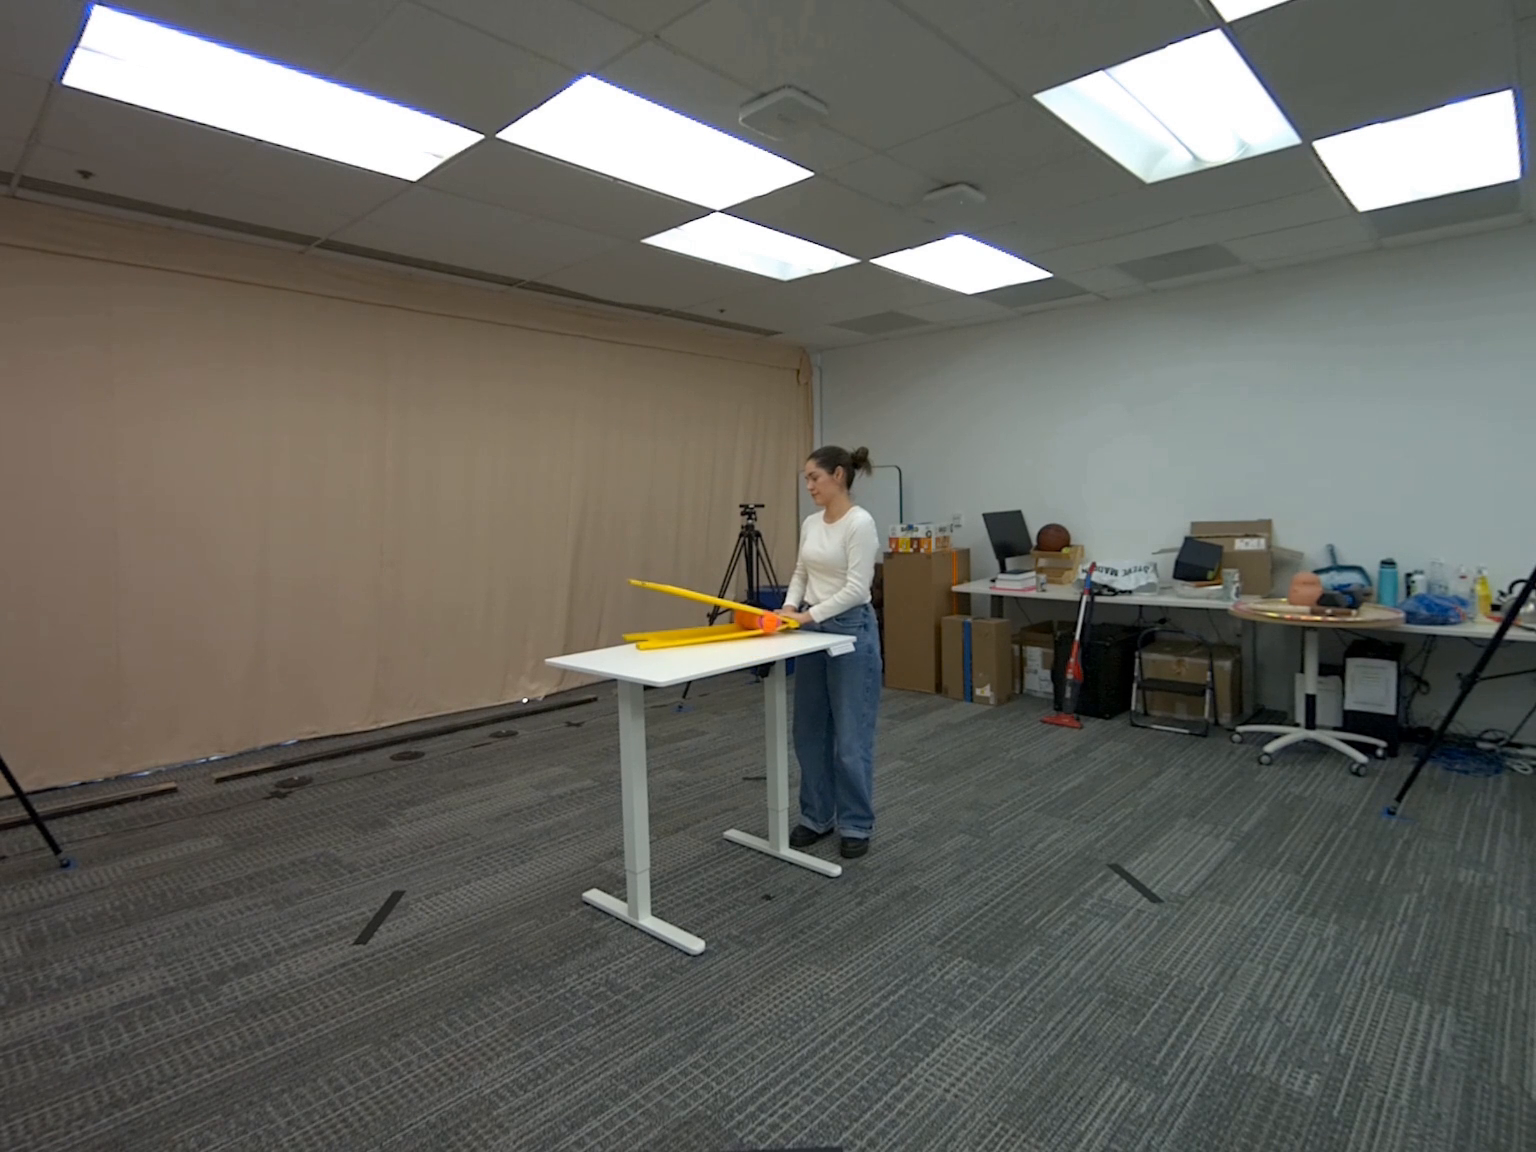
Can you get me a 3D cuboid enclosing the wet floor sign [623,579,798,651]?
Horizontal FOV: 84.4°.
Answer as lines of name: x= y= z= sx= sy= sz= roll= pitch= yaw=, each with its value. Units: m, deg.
wet floor sign: x=-0.200 y=0.172 z=3.232 sx=0.632 sy=0.290 sz=0.288 roll=4 pitch=0 yaw=-21
